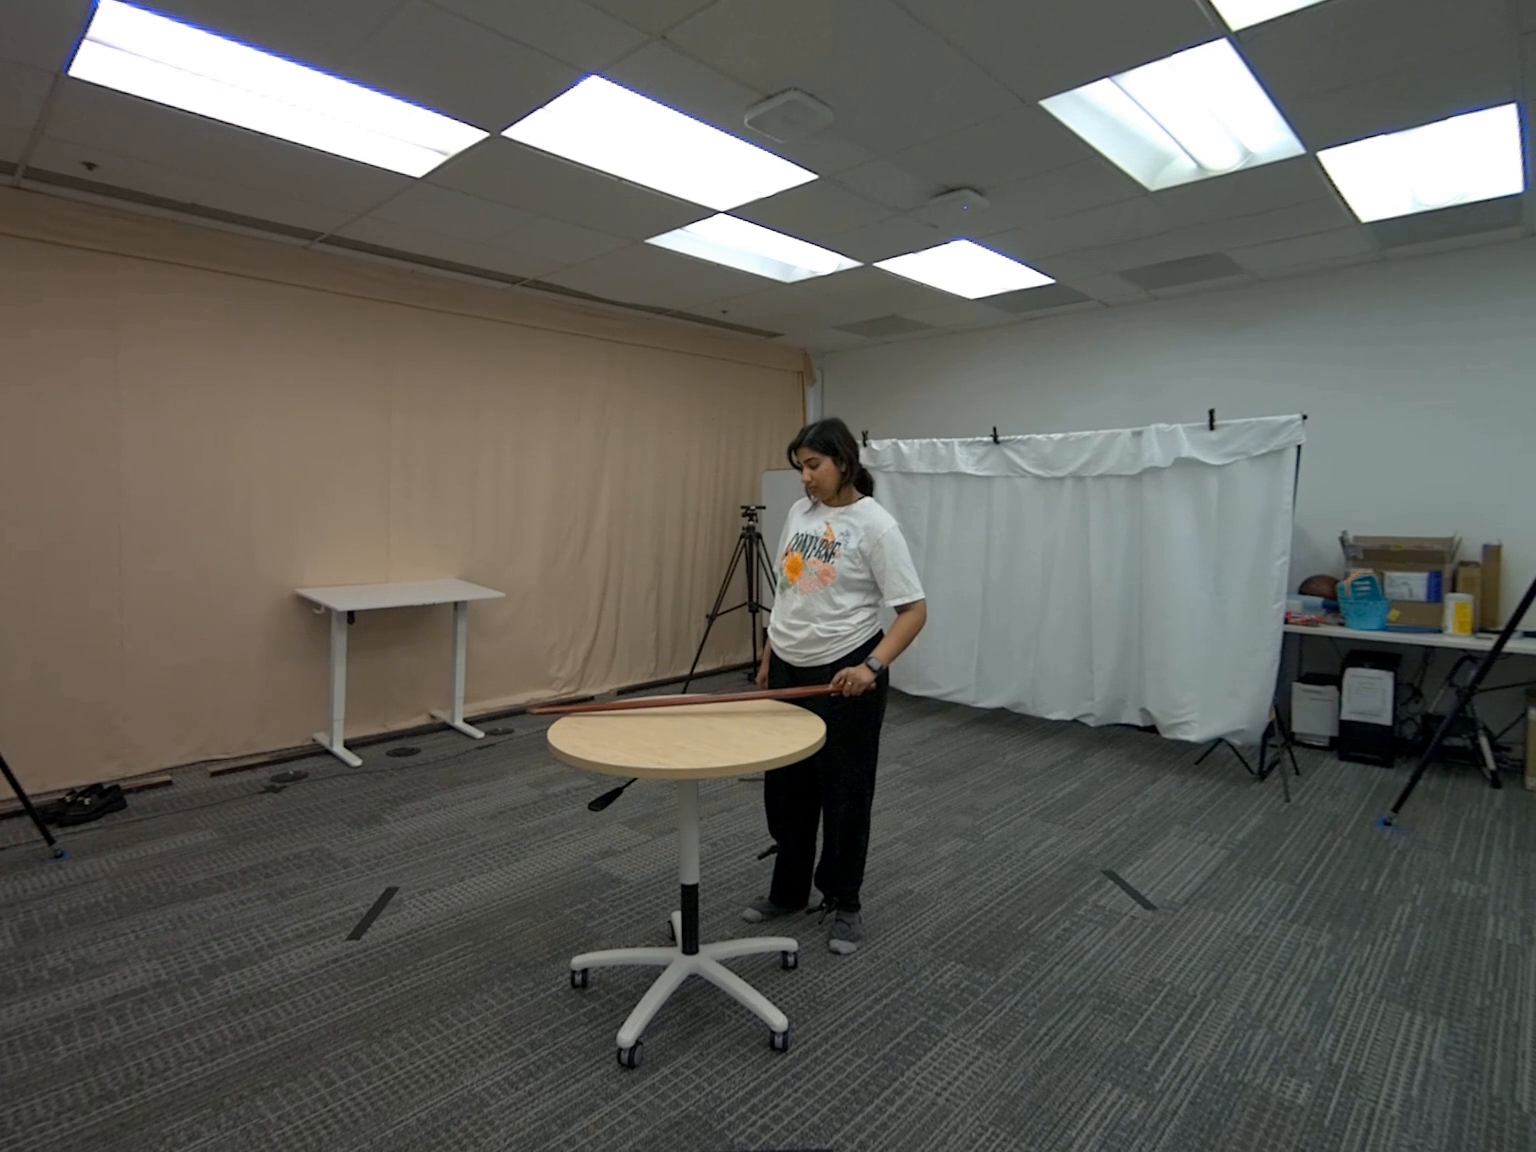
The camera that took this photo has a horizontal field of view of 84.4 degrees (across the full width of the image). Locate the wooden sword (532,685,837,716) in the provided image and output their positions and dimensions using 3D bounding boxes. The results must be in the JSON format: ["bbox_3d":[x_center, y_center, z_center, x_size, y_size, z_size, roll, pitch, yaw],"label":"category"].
[{"bbox_3d":[-0.170,0.347,2.502,1.032,0.024,0.050,-5,-32,7],"label":"wooden sword"}]
